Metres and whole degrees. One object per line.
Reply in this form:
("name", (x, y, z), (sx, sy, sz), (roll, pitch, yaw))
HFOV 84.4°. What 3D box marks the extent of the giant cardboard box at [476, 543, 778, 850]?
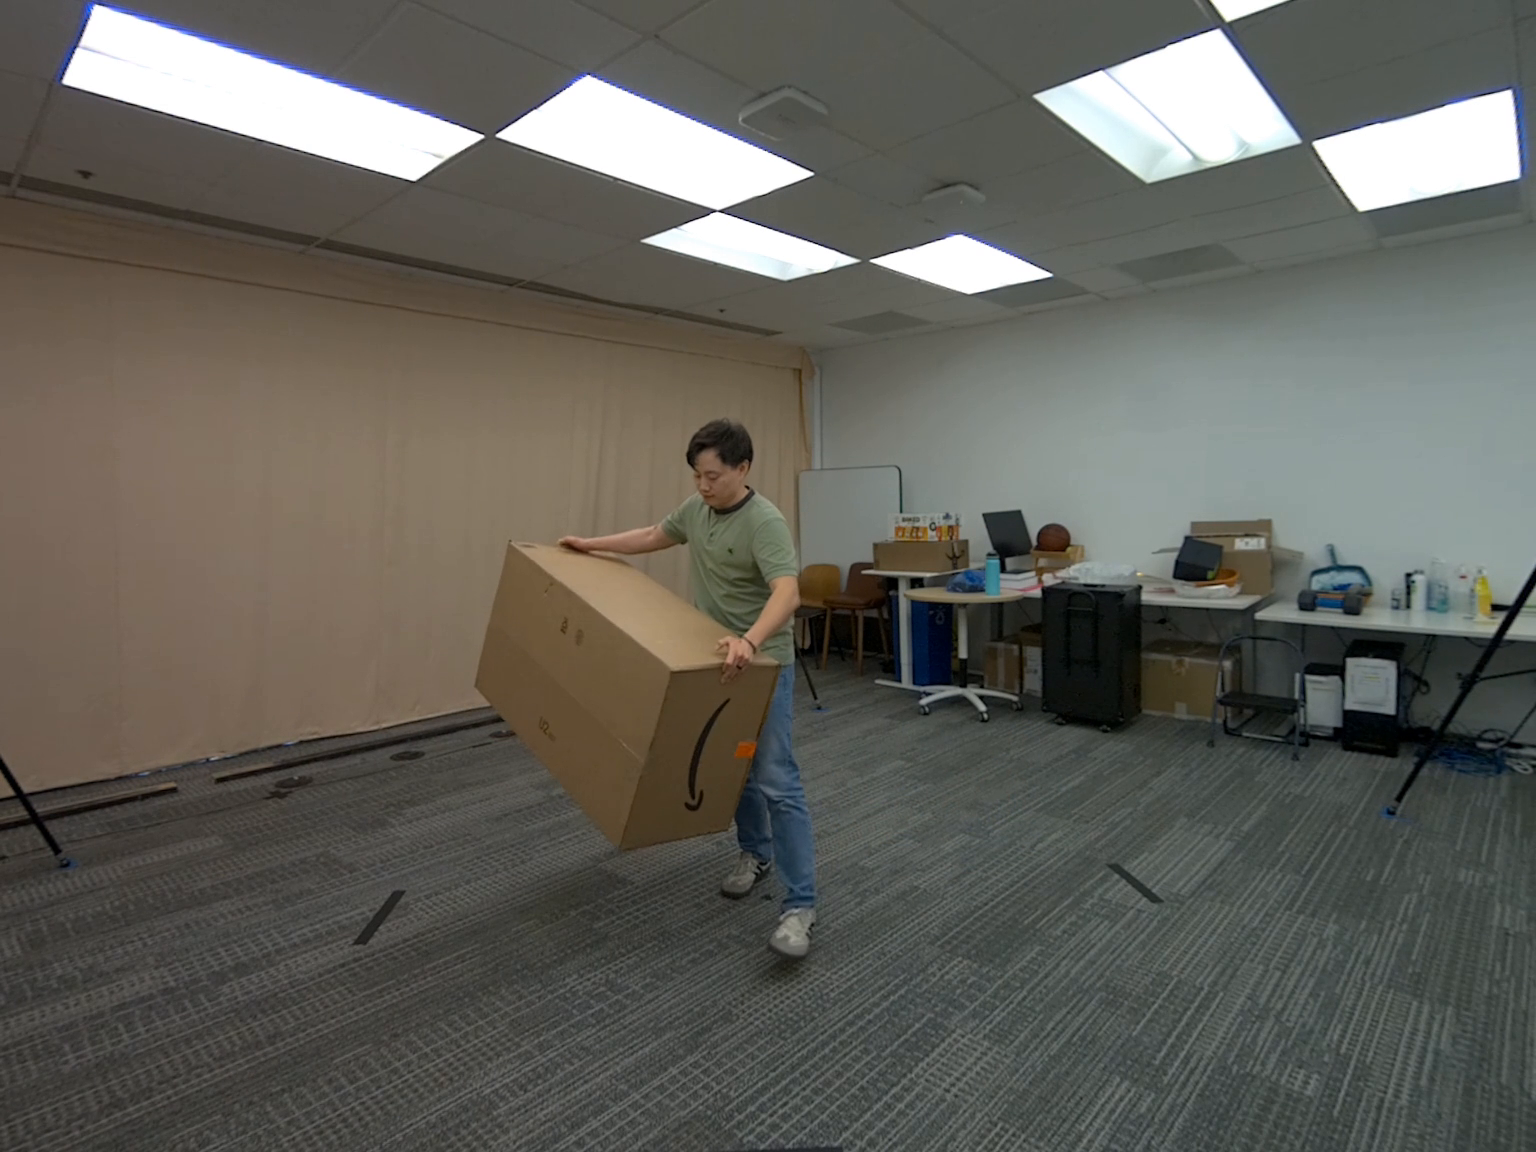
("giant cardboard box", (-0.512, 0.347, 2.800), (0.412, 0.575, 1.064), (6, 16, -43))
